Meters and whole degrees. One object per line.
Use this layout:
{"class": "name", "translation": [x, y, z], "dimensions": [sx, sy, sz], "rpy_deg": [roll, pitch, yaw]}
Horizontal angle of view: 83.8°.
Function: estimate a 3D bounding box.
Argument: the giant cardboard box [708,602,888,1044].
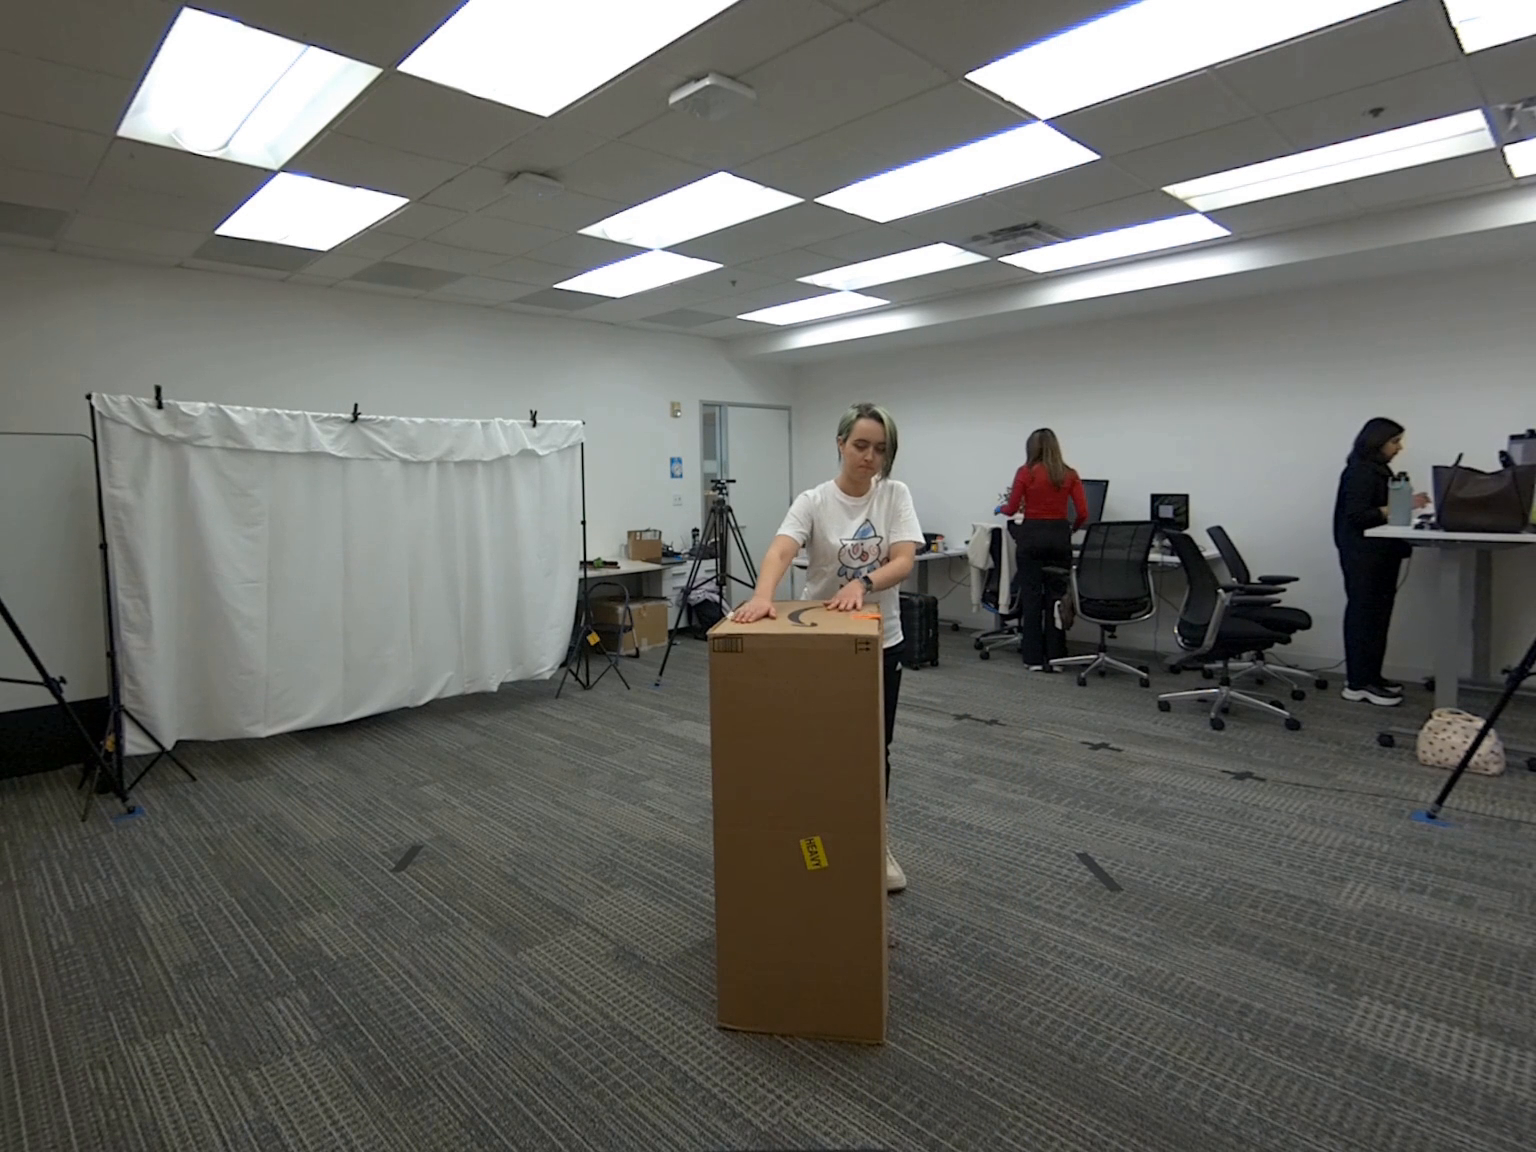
{"class": "giant cardboard box", "translation": [0.106, 0.620, 2.387], "dimensions": [0.451, 1.024, 0.580], "rpy_deg": [-2, 3, 8]}
